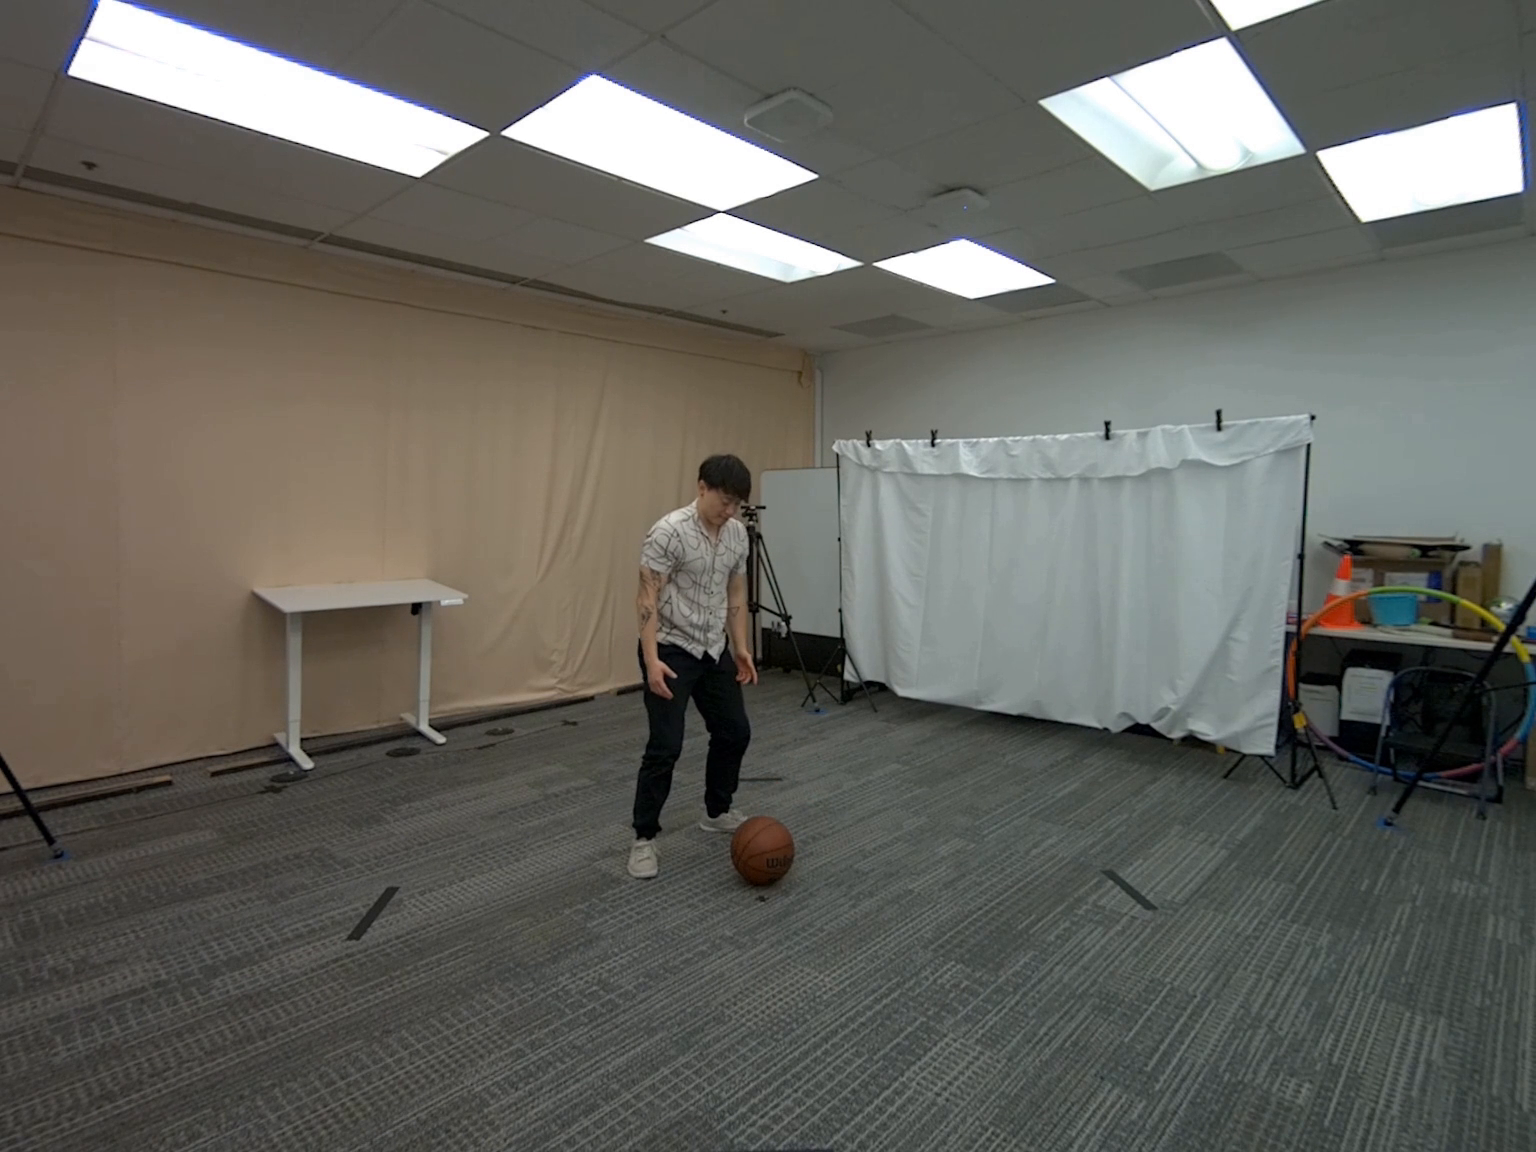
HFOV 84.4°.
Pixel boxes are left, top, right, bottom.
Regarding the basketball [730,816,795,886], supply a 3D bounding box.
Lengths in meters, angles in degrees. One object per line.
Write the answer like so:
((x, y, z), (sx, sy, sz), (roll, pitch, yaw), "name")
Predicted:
((-0.019, 1.010, 3.111), (0.236, 0.235, 0.237), (0, 4, -2), "basketball")
